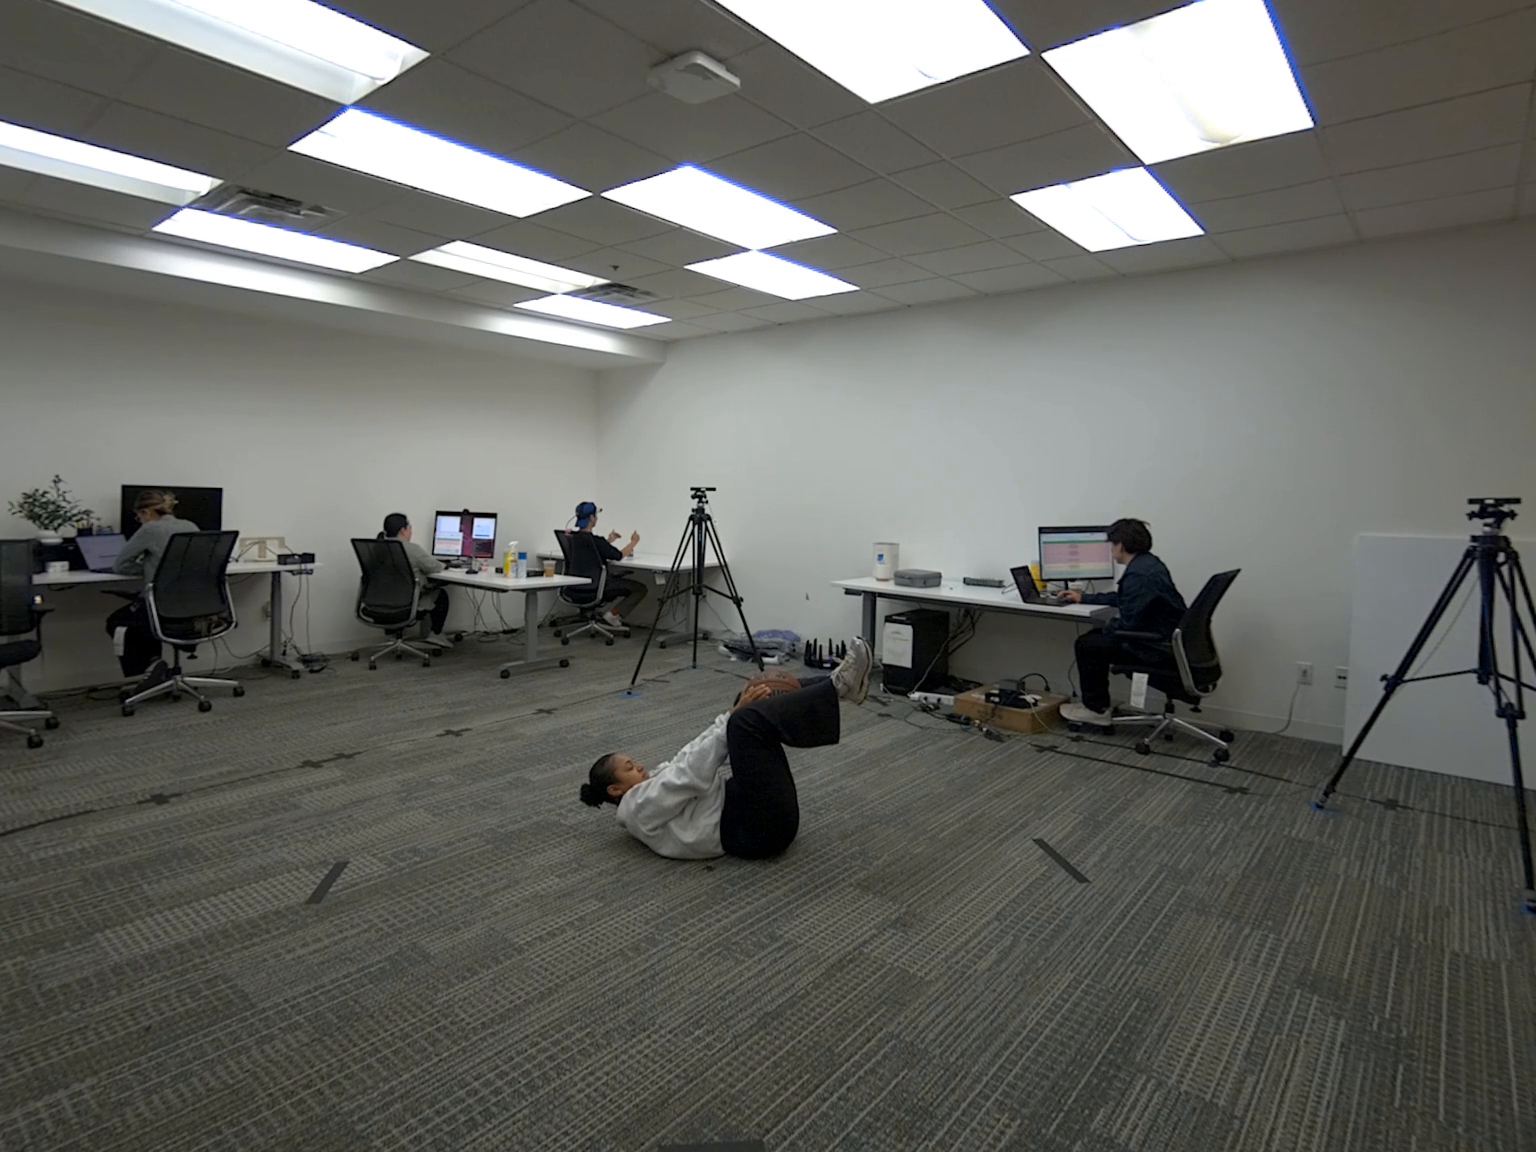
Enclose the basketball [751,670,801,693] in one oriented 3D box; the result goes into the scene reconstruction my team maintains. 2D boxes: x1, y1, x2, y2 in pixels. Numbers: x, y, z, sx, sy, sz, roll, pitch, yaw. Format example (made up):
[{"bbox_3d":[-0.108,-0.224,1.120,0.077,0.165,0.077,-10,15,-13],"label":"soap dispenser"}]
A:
[{"bbox_3d":[0.017,0.483,3.342,0.236,0.235,0.237,0,4,-2],"label":"basketball"}]
